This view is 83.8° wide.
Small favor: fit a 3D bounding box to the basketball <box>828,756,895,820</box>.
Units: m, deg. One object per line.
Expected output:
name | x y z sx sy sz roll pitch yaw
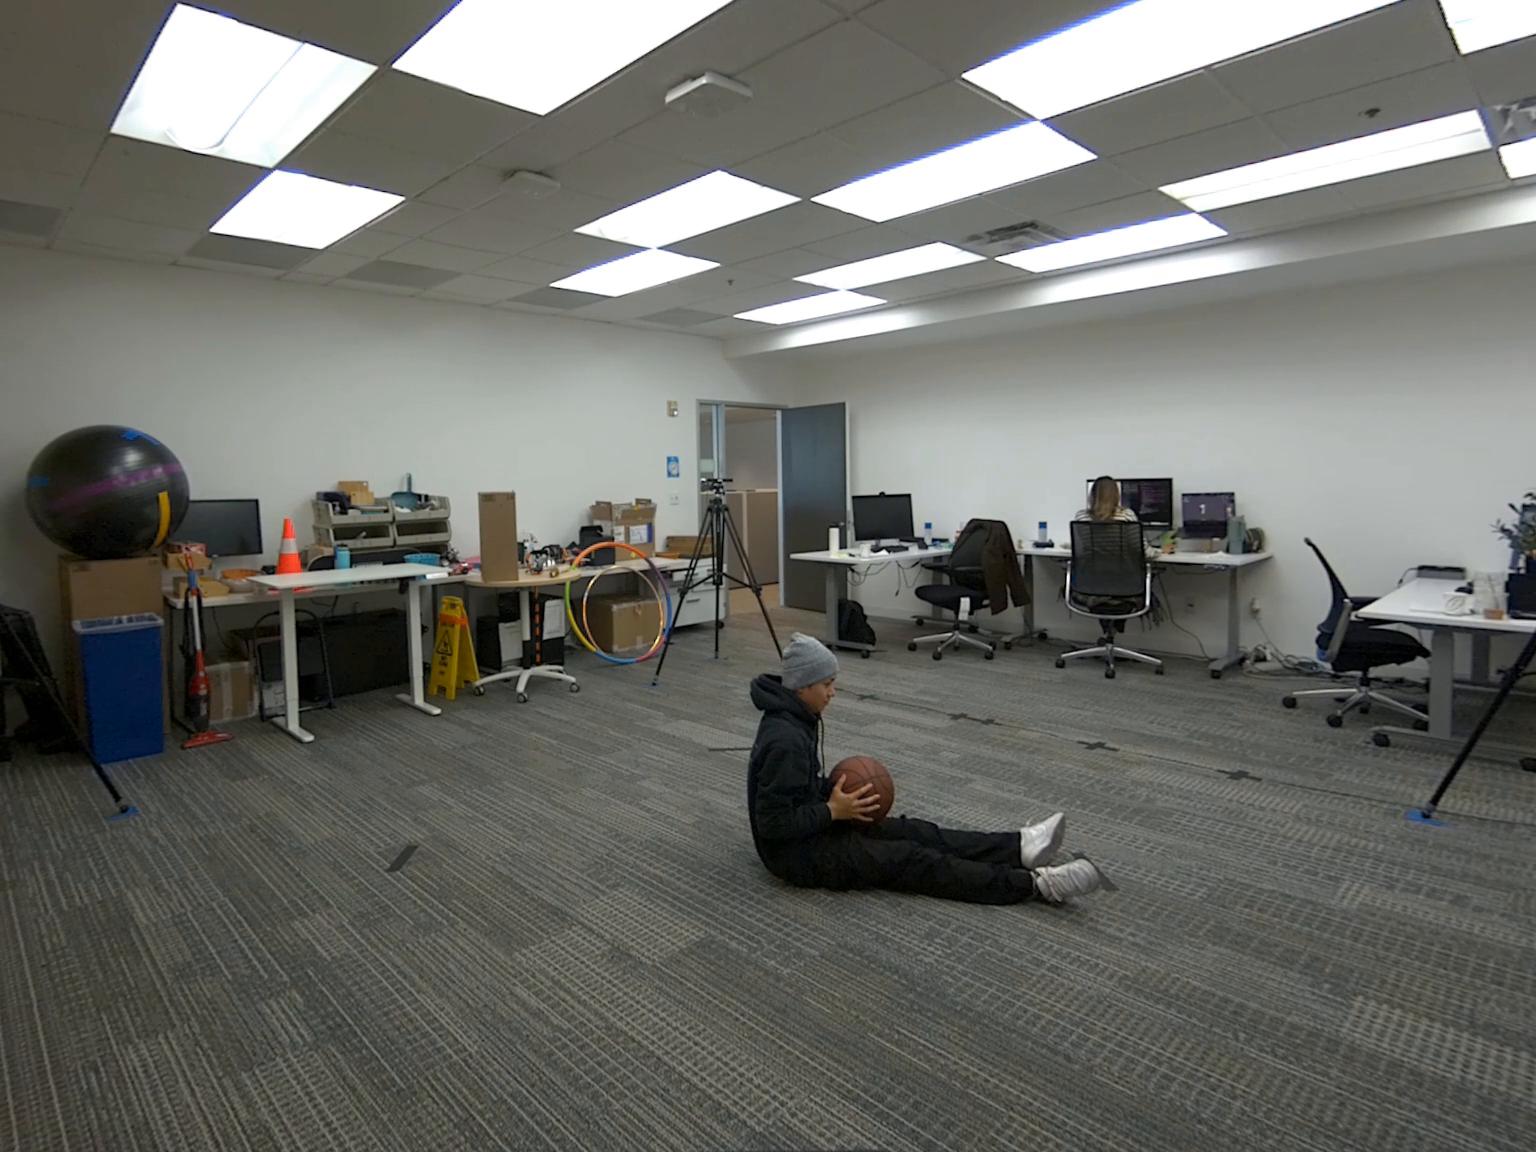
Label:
basketball | 0.322 0.754 3.023 0.236 0.235 0.237 -1 5 -2
